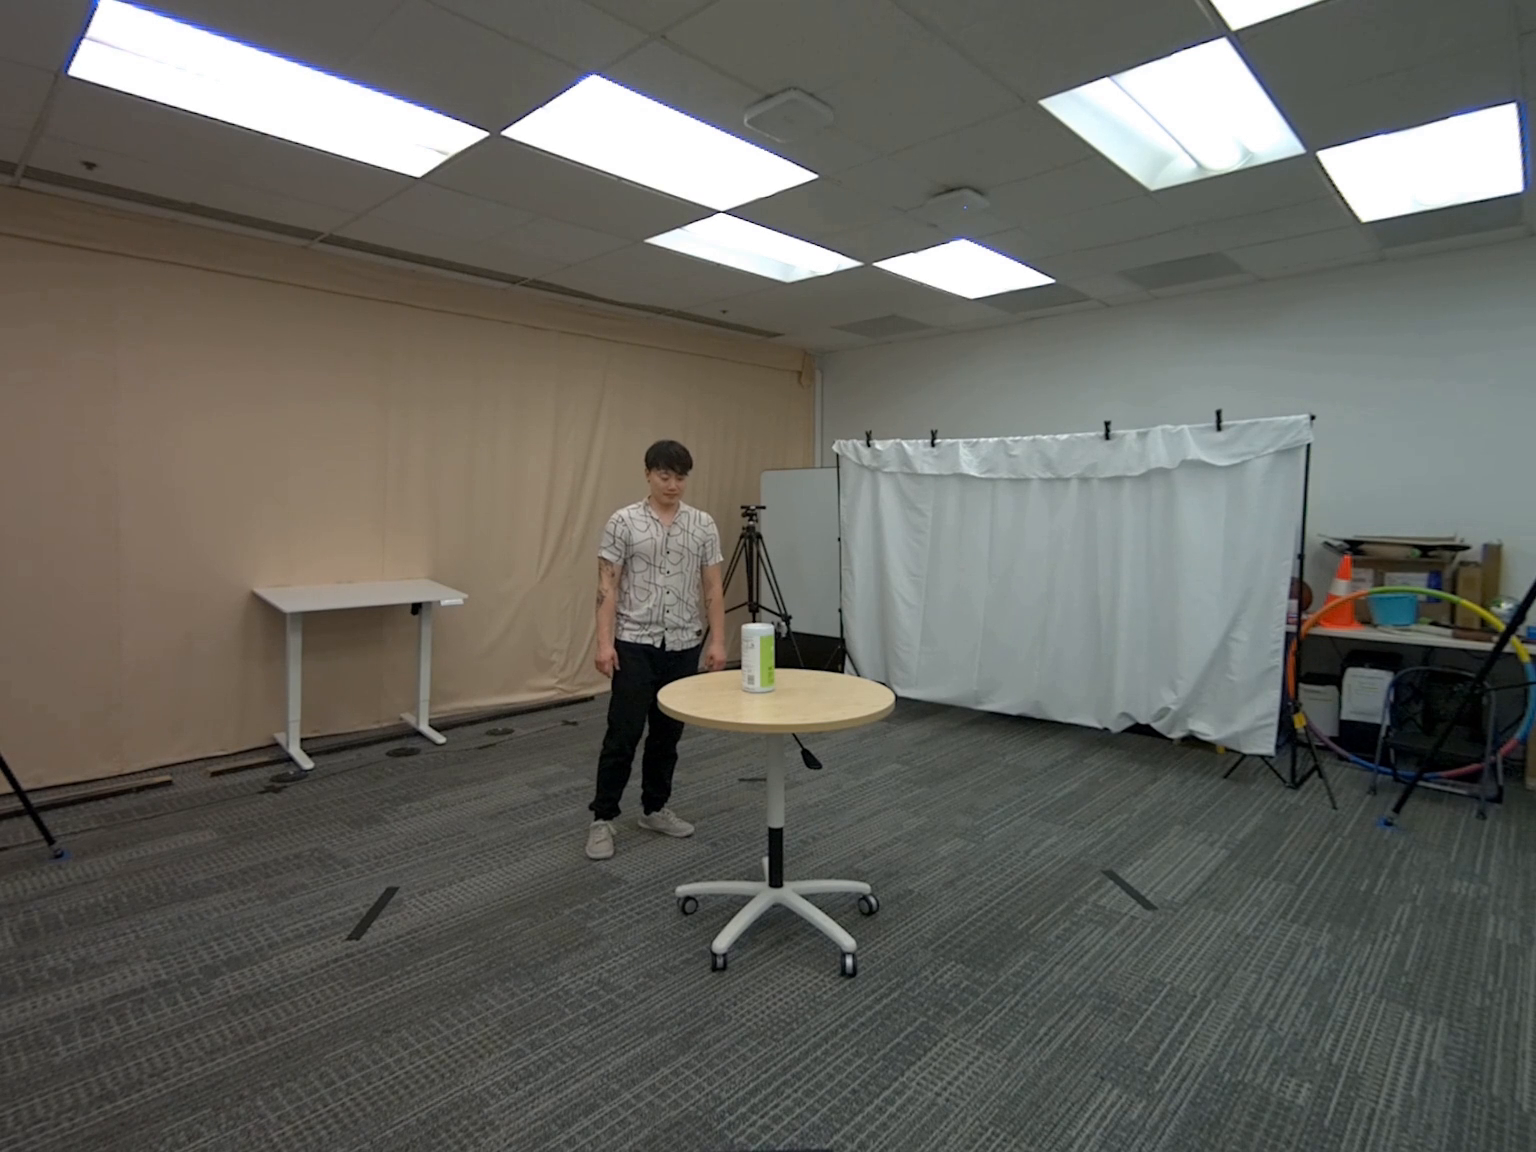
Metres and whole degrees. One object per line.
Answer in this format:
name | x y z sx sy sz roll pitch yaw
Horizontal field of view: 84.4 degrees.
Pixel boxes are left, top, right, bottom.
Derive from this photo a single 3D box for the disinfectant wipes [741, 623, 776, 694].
disinfectant wipes | -0.029 0.274 2.779 0.118 0.217 0.118 1 3 -2
